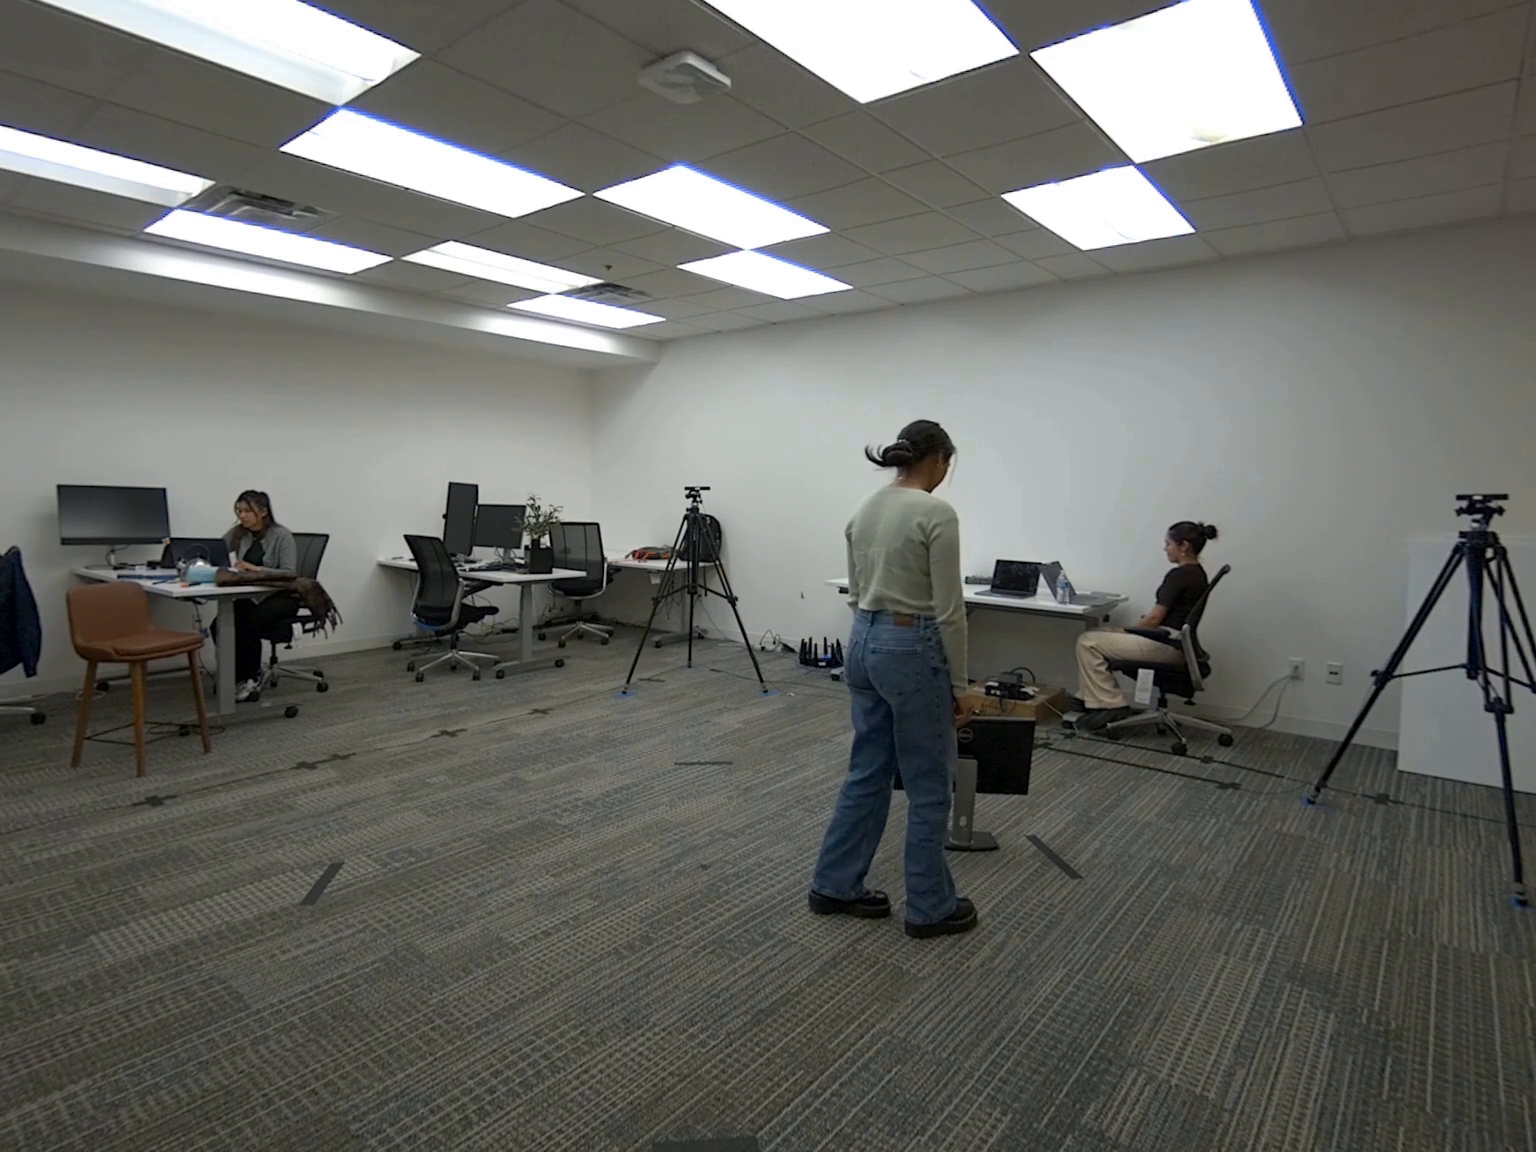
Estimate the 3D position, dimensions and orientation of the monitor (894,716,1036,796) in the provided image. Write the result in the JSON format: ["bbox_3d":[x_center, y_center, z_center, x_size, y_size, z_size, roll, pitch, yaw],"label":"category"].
[{"bbox_3d":[0.771,0.791,3.366,0.533,0.515,0.174,0,2,5],"label":"monitor"}]
